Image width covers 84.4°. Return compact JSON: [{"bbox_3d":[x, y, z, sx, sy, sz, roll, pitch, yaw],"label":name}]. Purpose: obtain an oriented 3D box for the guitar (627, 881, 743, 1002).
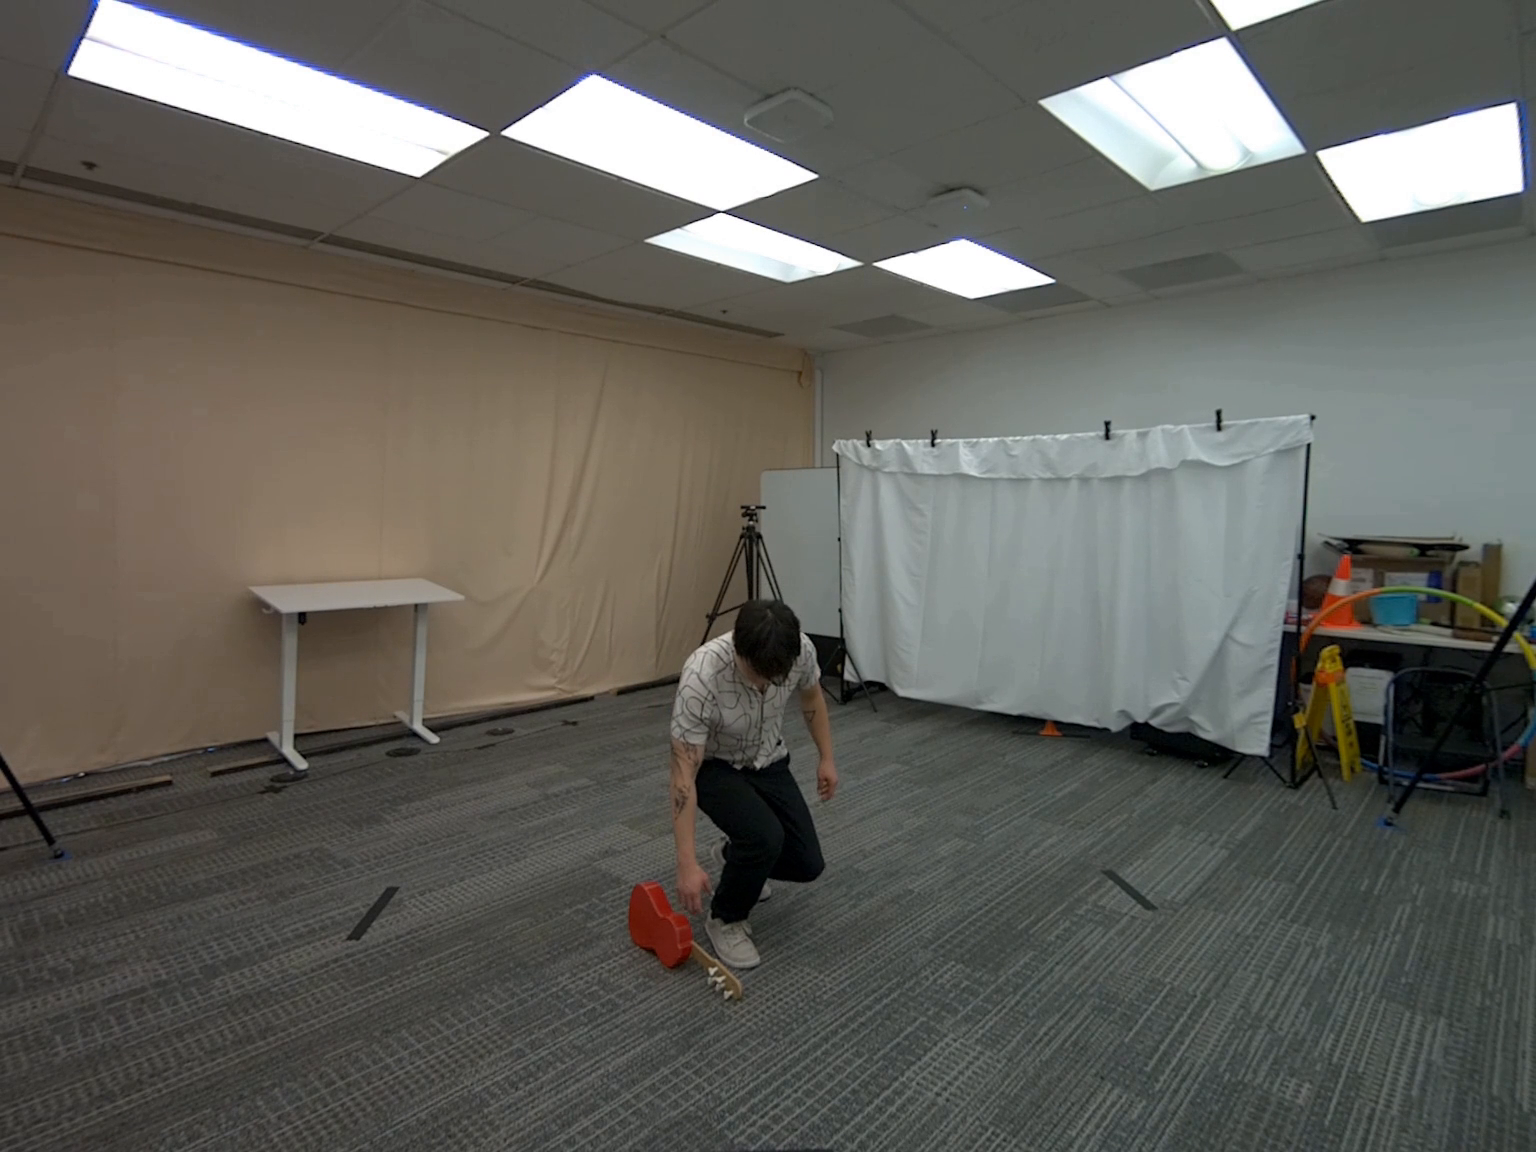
[{"bbox_3d":[-0.252,1.089,2.534,0.068,0.193,0.514,3,1,-41],"label":"guitar"}]
